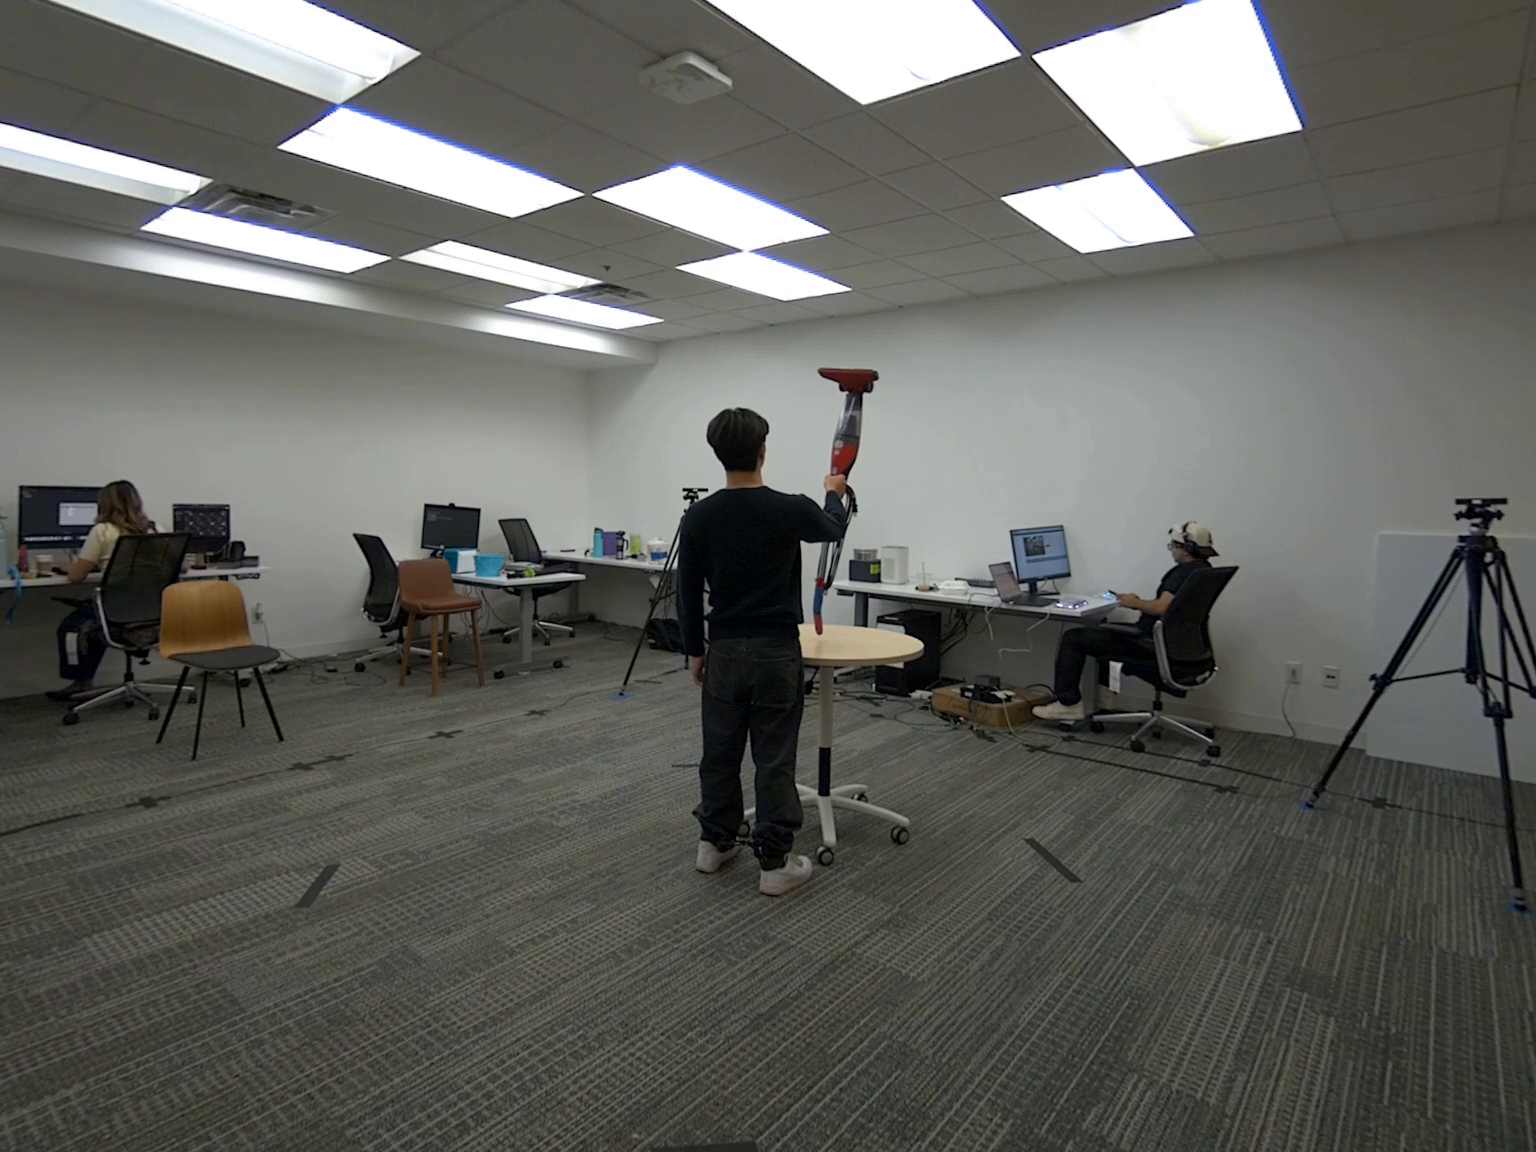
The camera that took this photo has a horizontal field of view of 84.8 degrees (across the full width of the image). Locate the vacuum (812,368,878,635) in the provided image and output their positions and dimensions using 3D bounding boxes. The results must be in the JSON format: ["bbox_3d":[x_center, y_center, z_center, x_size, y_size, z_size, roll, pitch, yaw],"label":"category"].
[{"bbox_3d":[0.274,-0.289,3.450,0.261,1.045,0.139,9,5,35],"label":"vacuum"}]
